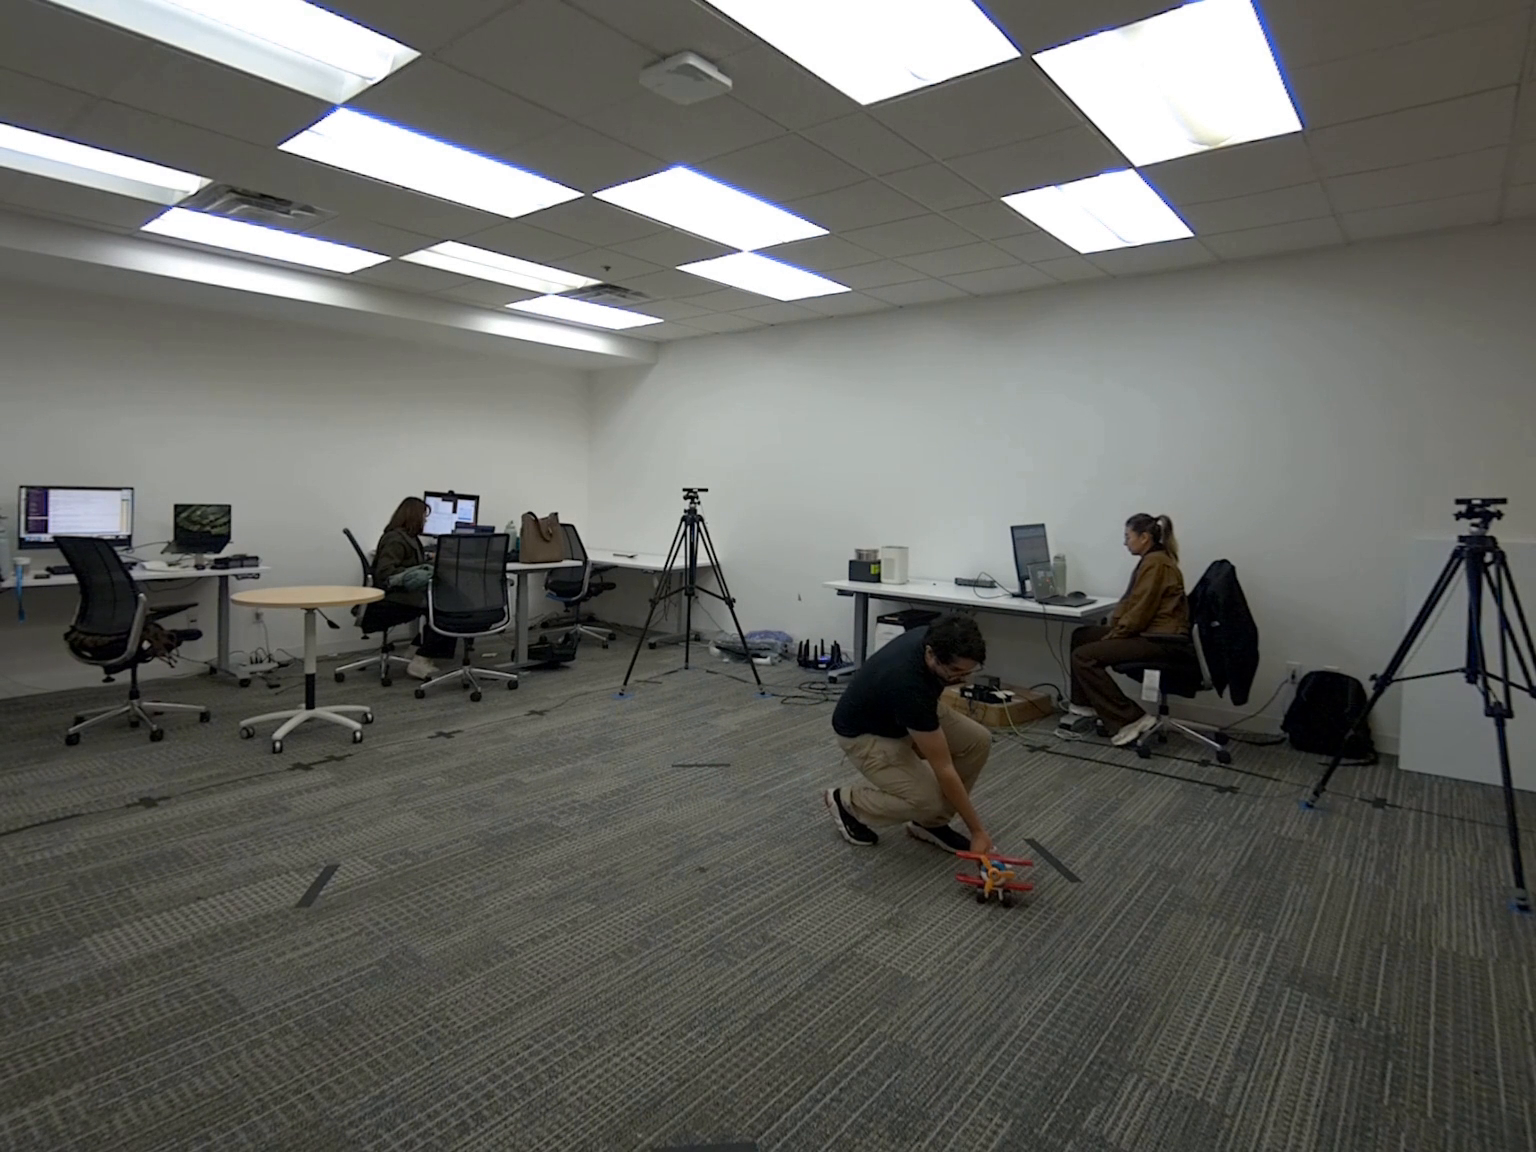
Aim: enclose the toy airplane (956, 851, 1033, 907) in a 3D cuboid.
[{"bbox_3d":[0.766,1.033,2.991,0.248,0.156,0.263,-1,5,-12],"label":"toy airplane"}]
